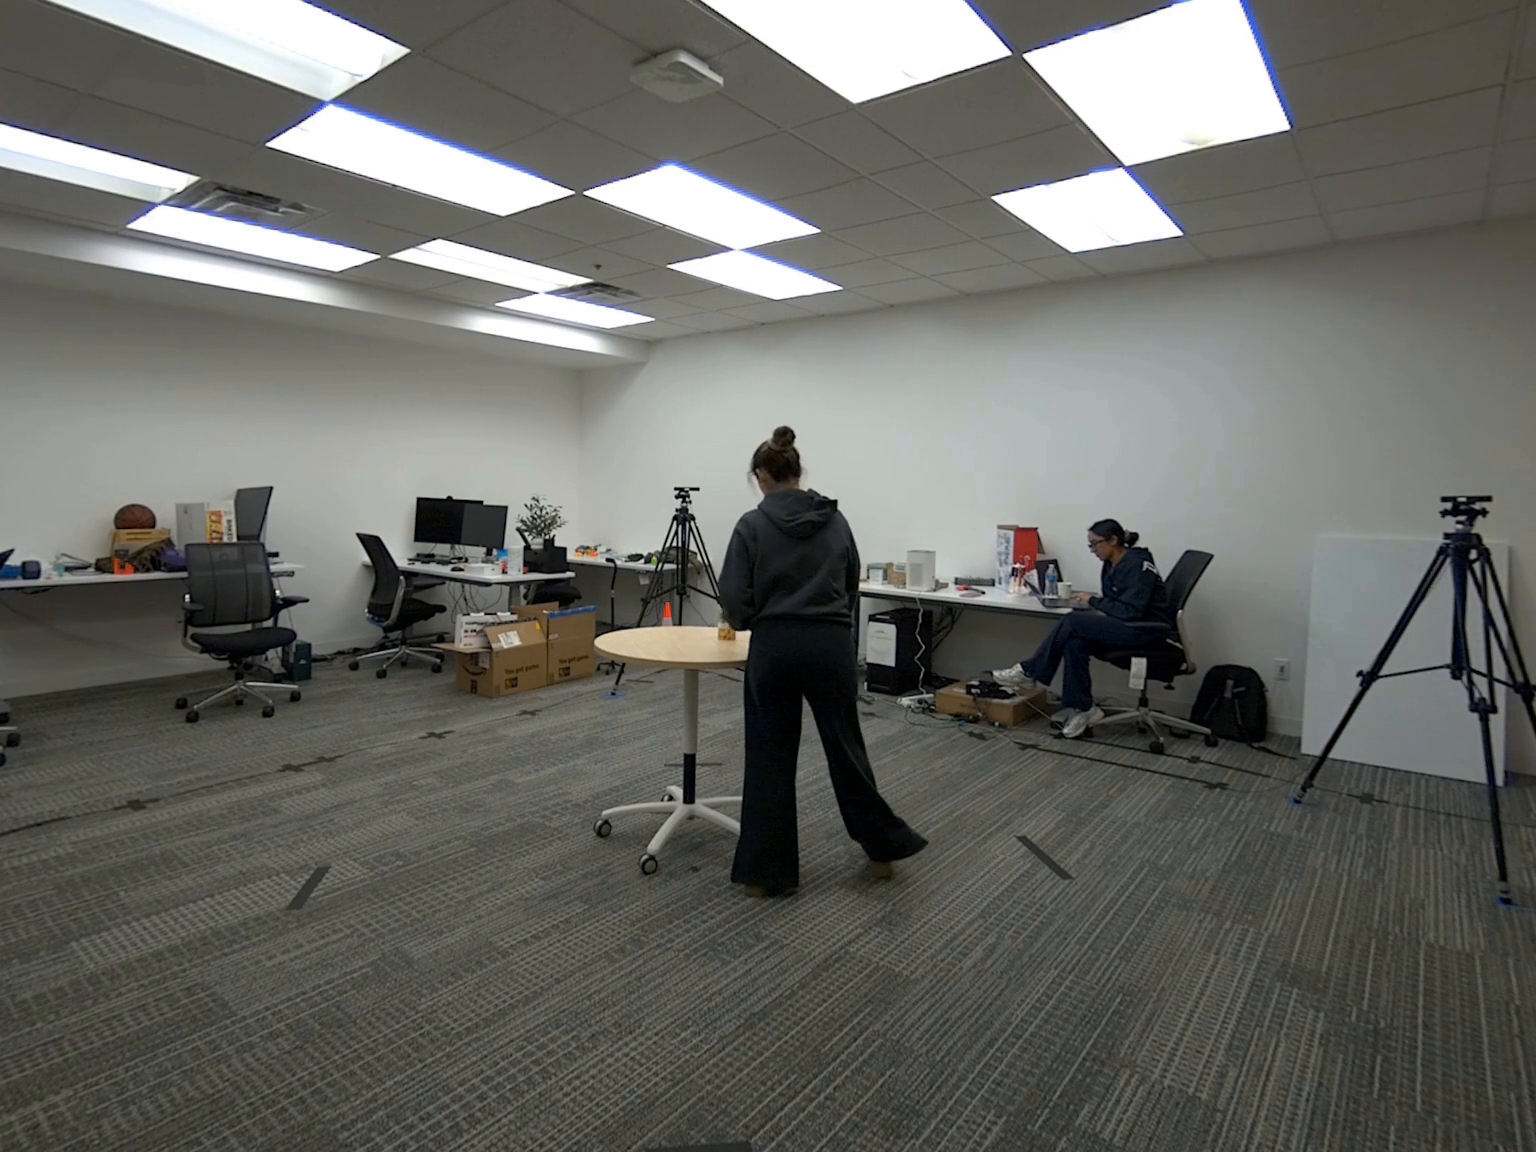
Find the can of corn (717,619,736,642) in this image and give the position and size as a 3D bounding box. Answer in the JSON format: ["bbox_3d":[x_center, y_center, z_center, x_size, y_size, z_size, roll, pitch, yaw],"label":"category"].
[{"bbox_3d":[-0.170,0.193,3.443,0.074,0.111,0.074,1,1,-2],"label":"can of corn"}]
